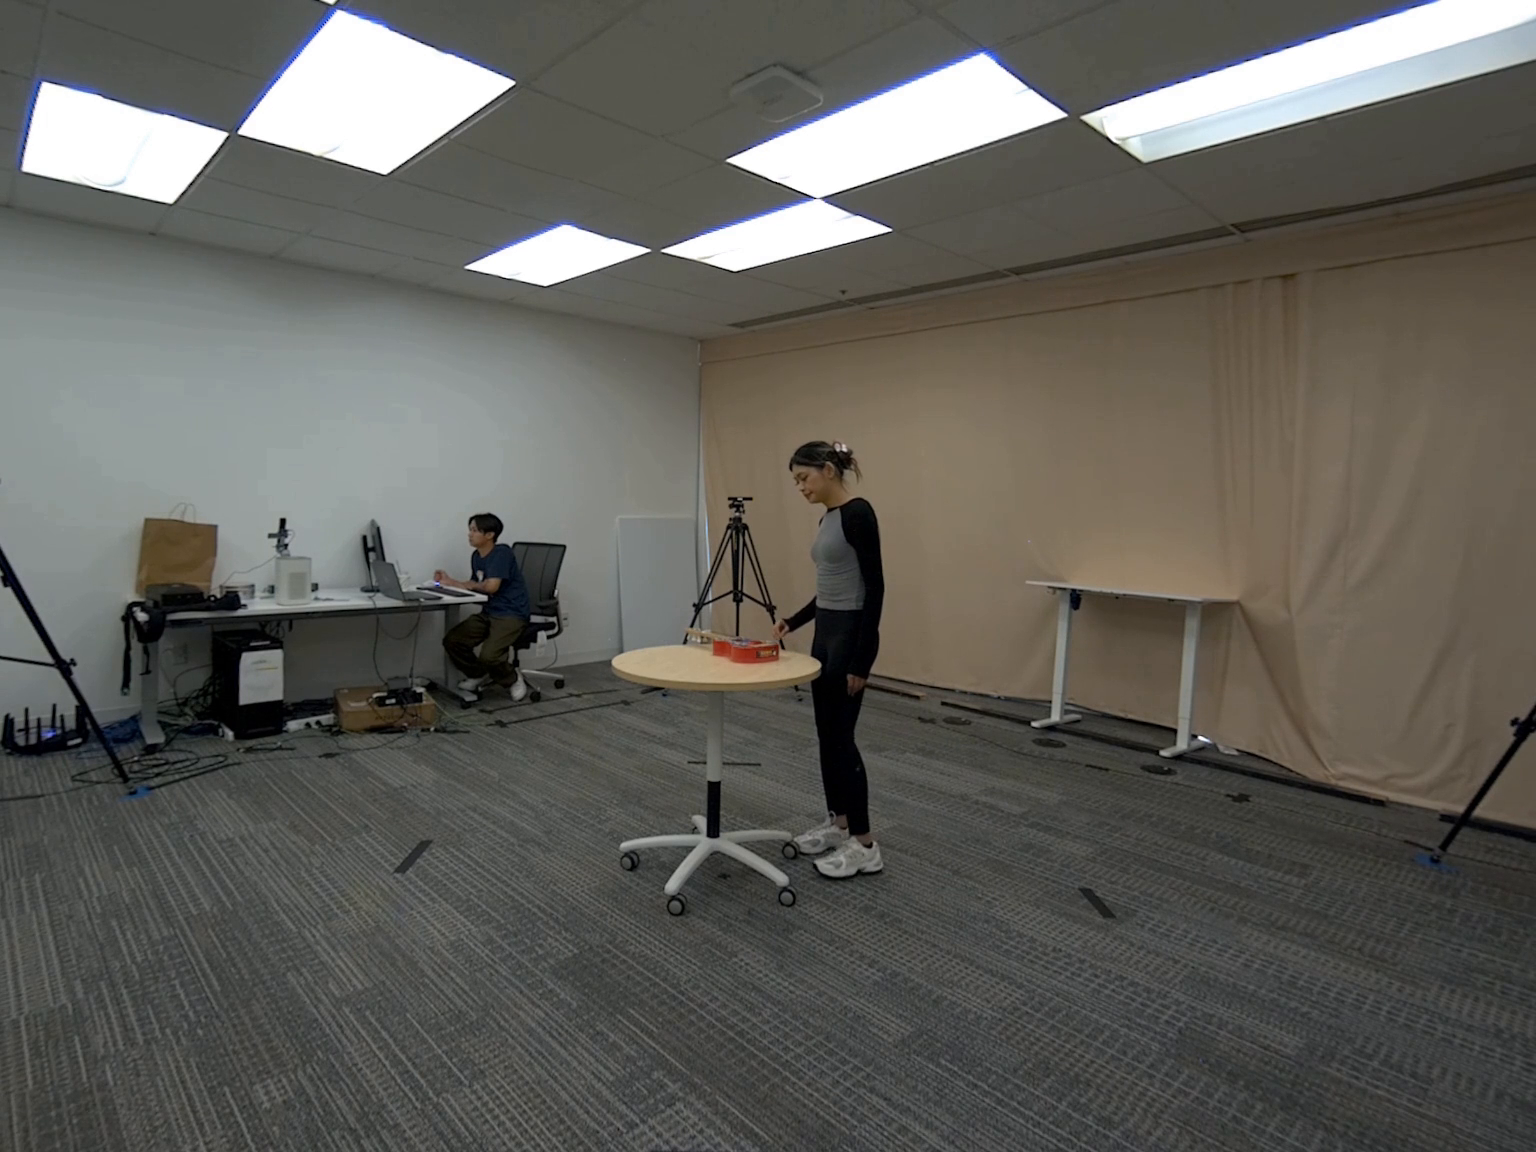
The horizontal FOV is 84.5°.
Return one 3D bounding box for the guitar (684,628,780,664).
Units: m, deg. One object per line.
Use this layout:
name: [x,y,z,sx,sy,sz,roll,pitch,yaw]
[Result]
guitar: [-0.145,0.267,3.293,0.189,0.070,0.509,-1,5,-31]
